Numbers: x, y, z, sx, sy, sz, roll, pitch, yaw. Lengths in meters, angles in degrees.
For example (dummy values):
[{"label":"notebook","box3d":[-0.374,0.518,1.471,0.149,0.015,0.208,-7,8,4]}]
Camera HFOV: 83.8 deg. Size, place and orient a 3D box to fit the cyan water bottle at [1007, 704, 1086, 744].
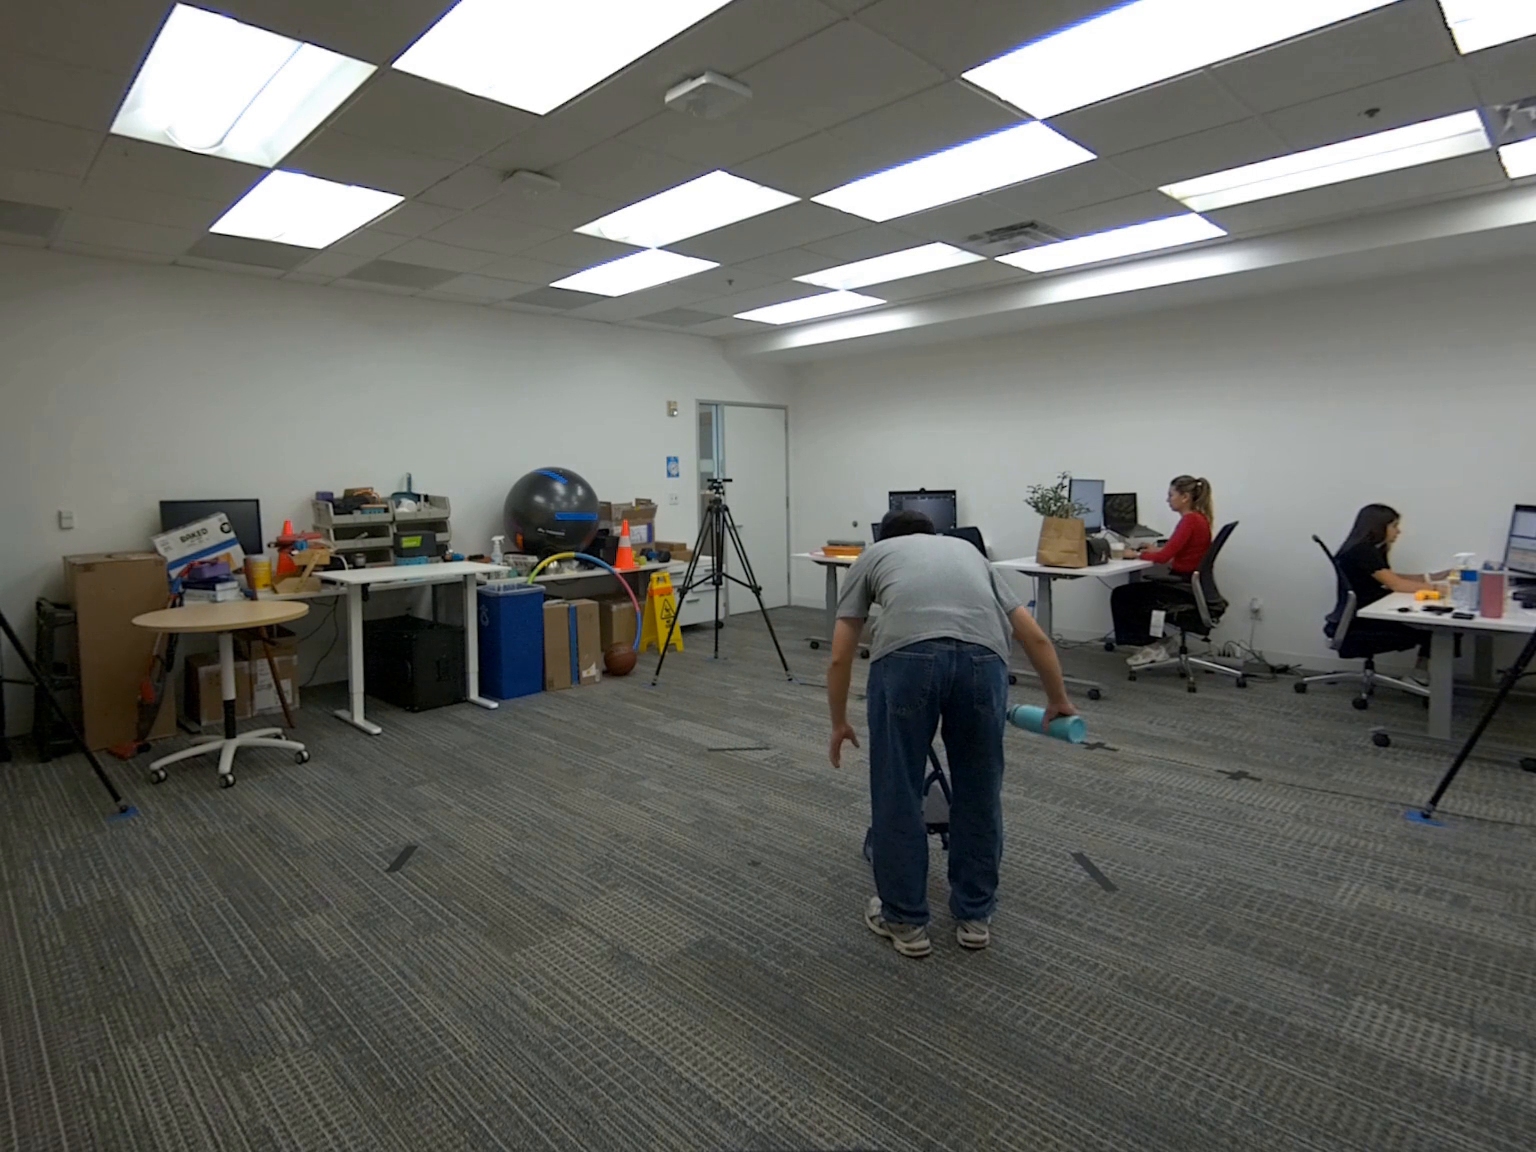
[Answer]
[{"label":"cyan water bottle","box3d":[0.921,0.499,2.905,0.090,0.092,0.291,-4,6,-30]}]
